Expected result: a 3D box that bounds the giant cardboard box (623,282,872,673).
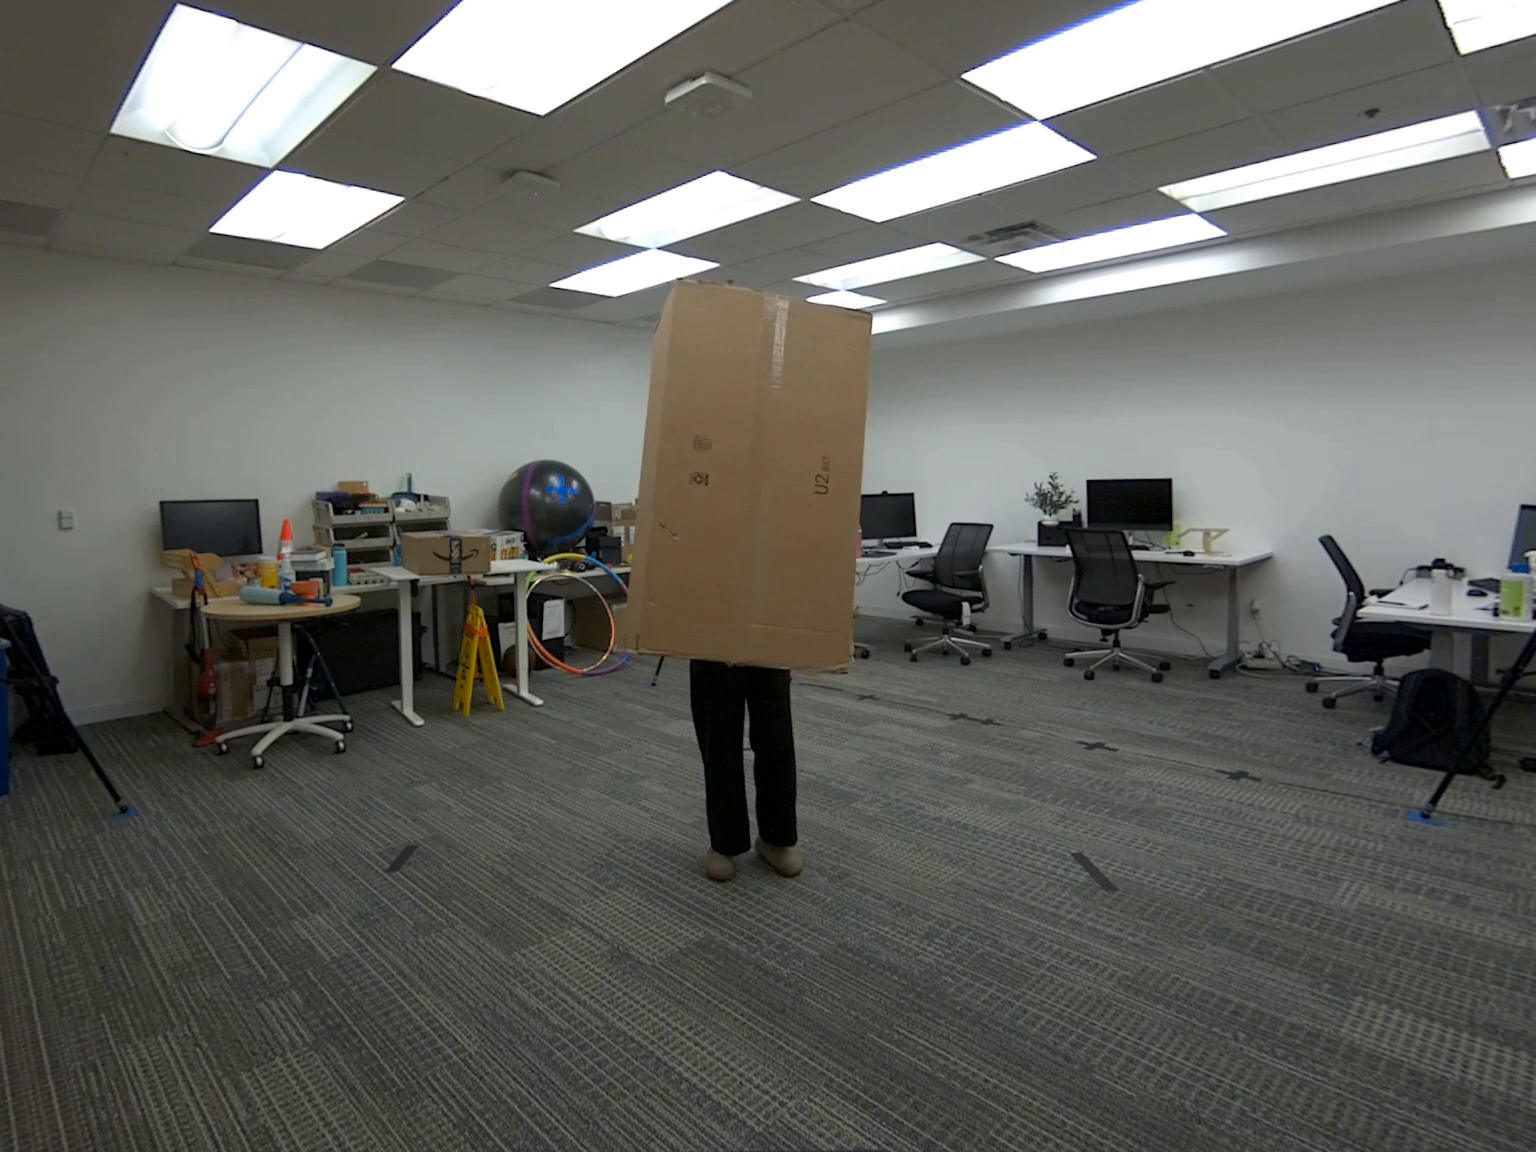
[{"bbox_3d":[-0.072,-0.256,2.505,0.570,1.033,0.429,6,-8,-12],"label":"giant cardboard box"}]
